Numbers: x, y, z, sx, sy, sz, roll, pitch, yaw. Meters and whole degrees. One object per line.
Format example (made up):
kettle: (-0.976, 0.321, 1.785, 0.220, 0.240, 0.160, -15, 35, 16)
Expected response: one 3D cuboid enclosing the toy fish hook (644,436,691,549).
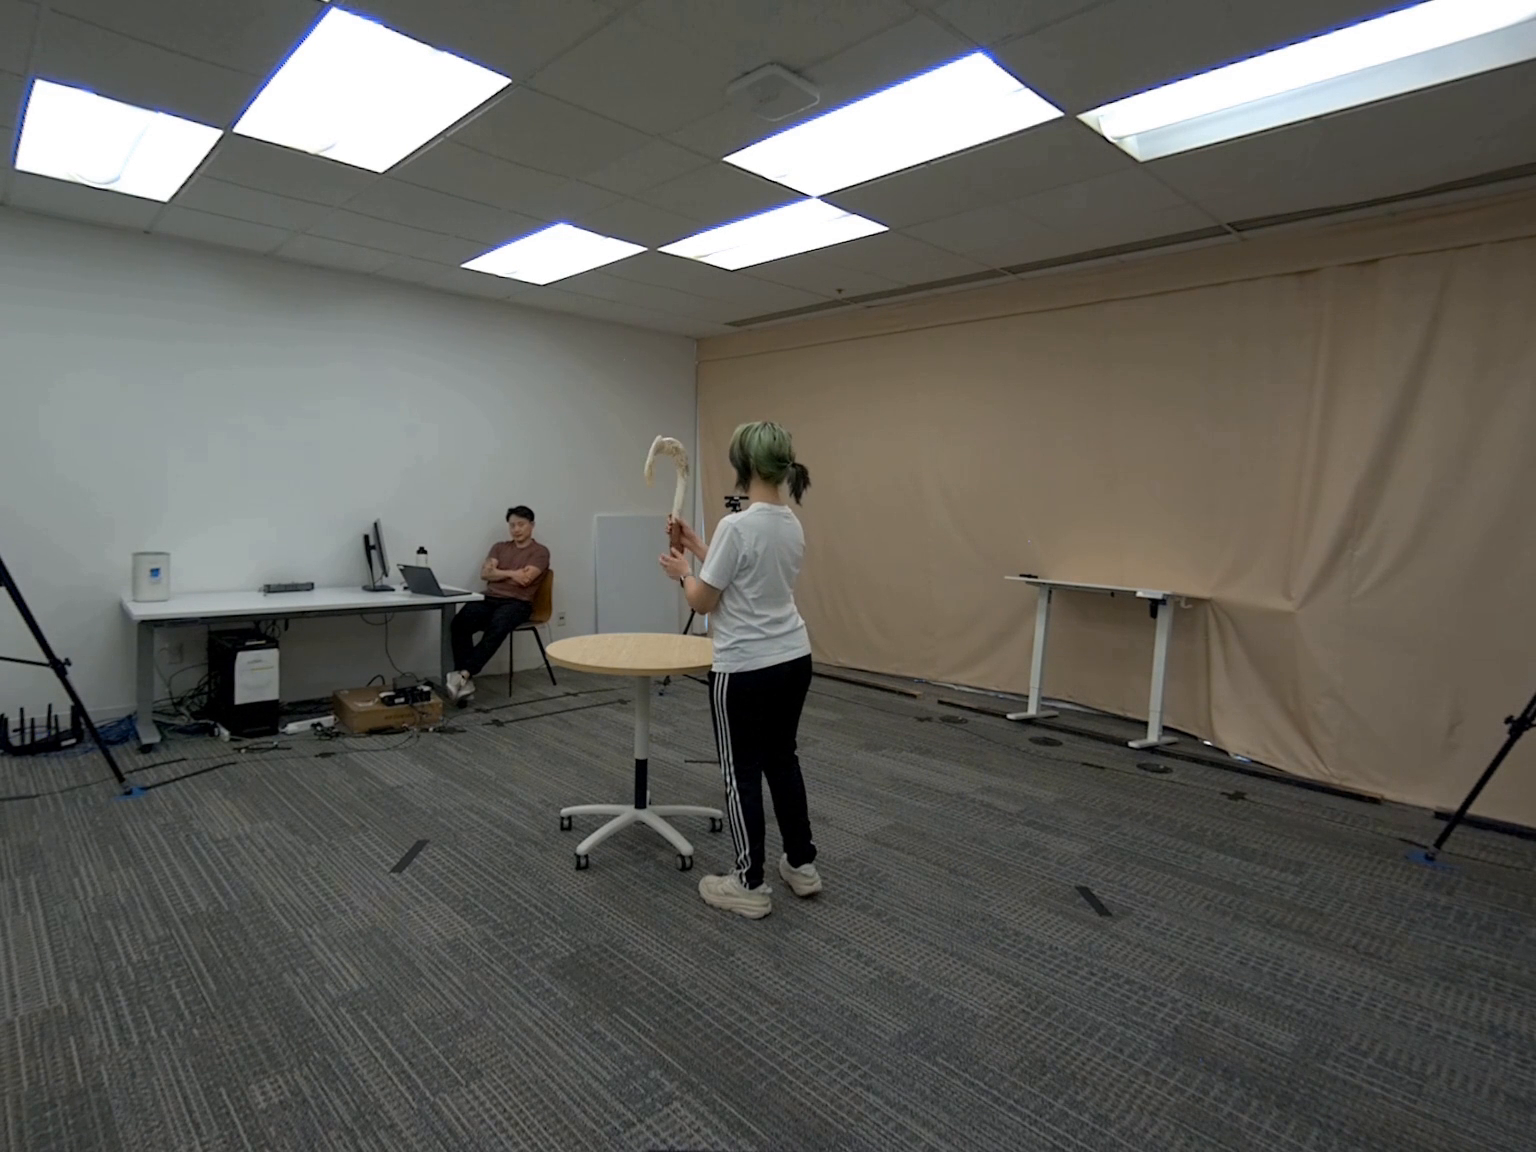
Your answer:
toy fish hook: (-0.358, -0.242, 3.004, 0.049, 0.508, 0.219, -7, -6, 41)
